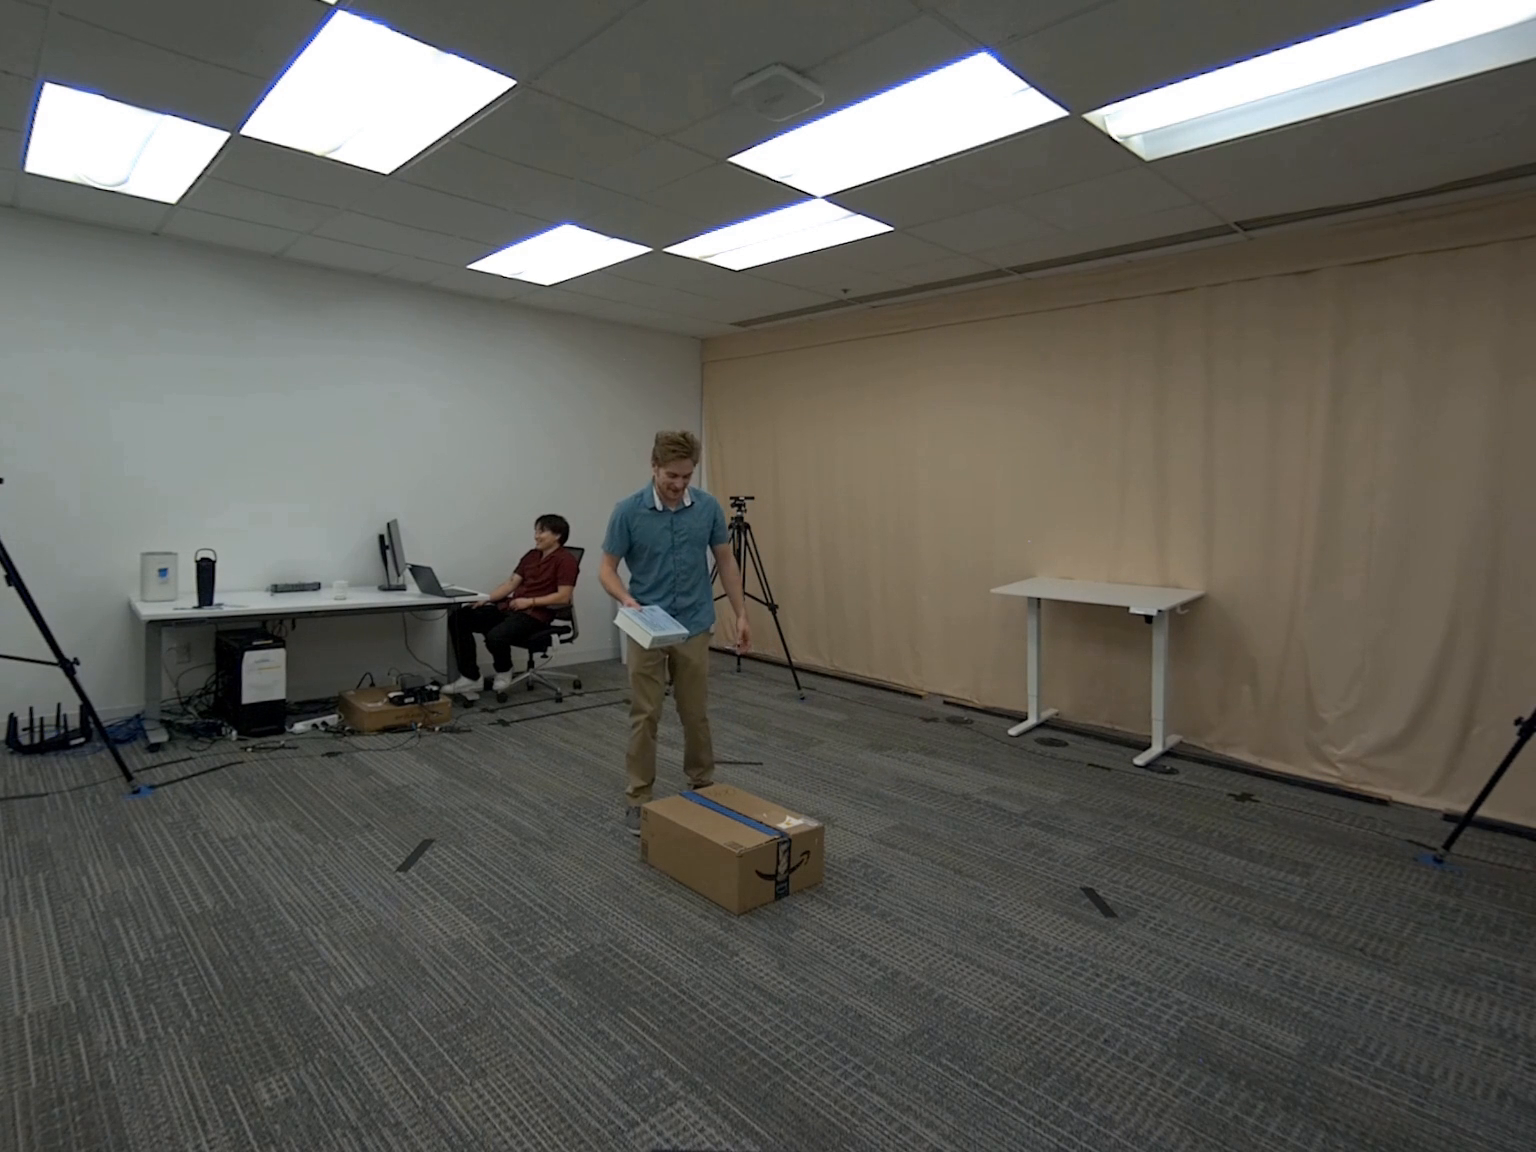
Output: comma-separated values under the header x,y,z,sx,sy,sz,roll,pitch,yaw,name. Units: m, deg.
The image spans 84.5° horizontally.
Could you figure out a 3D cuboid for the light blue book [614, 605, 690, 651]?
x,y,z,sx,sy,sz,roll,pitch,yaw,name
-0.473,0.194,3.262,0.196,0.059,0.256,34,15,23,light blue book
